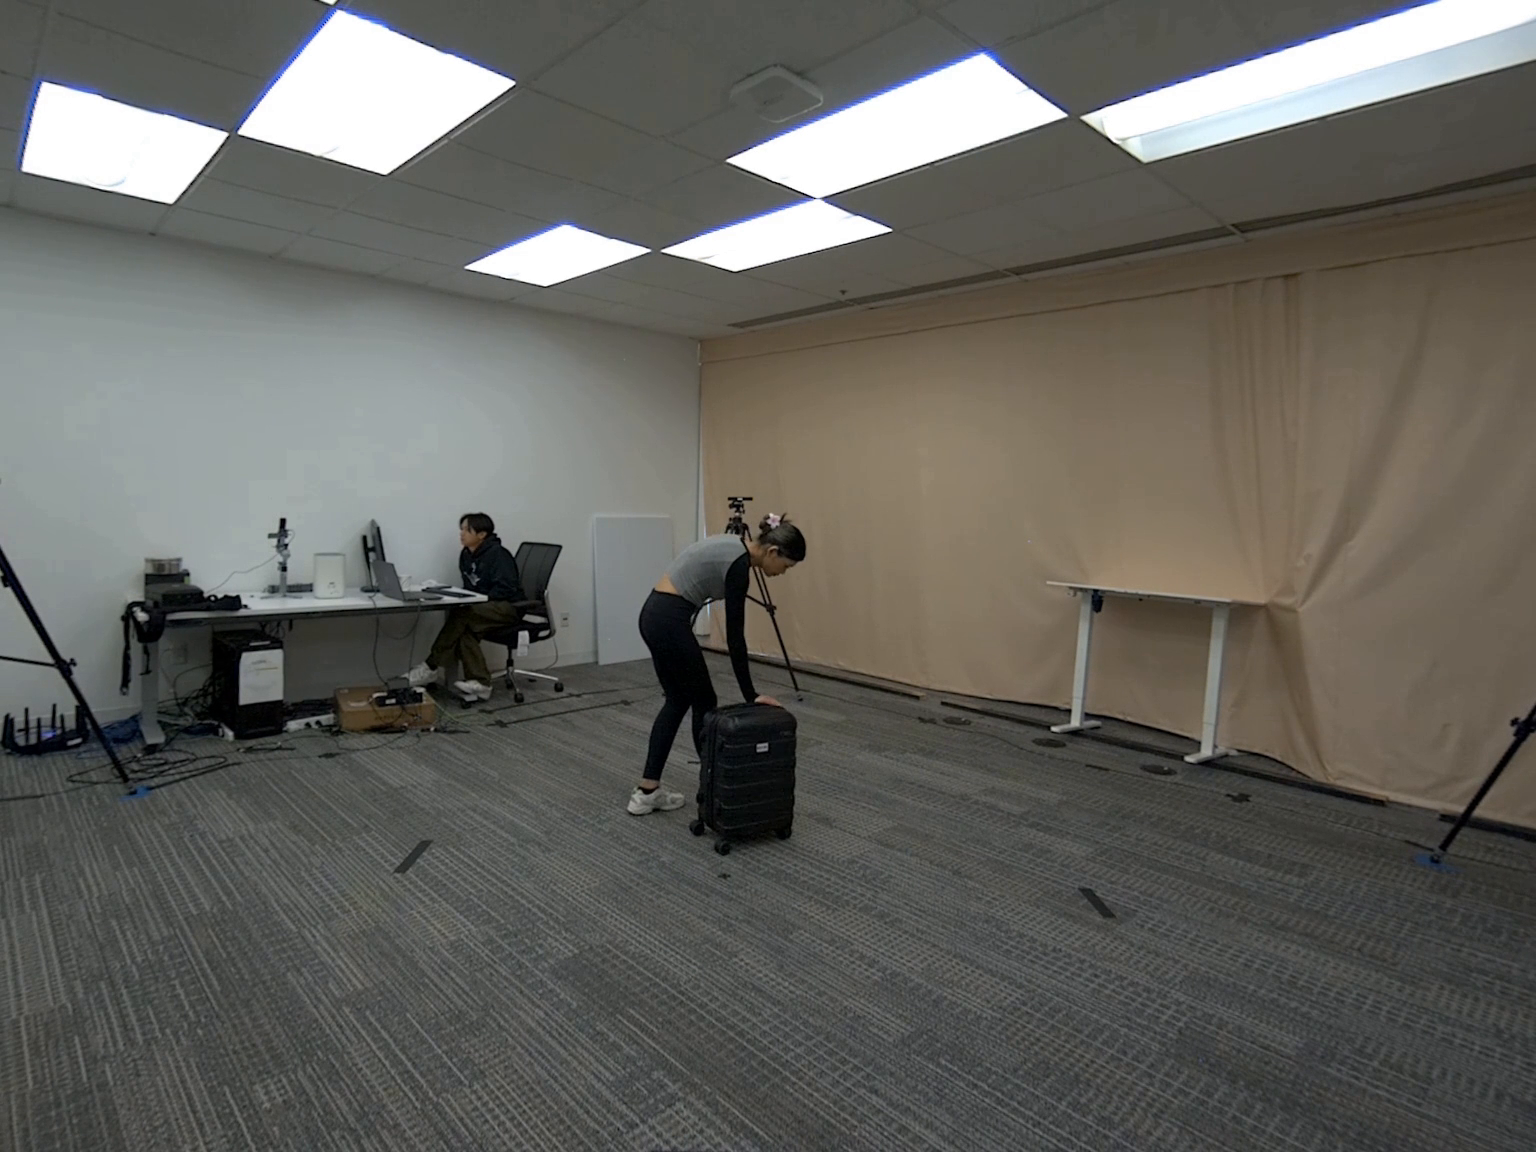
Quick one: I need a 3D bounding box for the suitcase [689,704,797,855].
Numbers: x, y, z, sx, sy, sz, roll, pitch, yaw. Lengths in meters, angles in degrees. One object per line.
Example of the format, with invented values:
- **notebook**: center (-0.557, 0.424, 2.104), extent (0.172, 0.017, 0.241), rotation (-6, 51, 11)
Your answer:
- **suitcase**: center (-0.090, 0.802, 3.461), extent (0.367, 0.548, 0.254), rotation (1, 4, -31)
